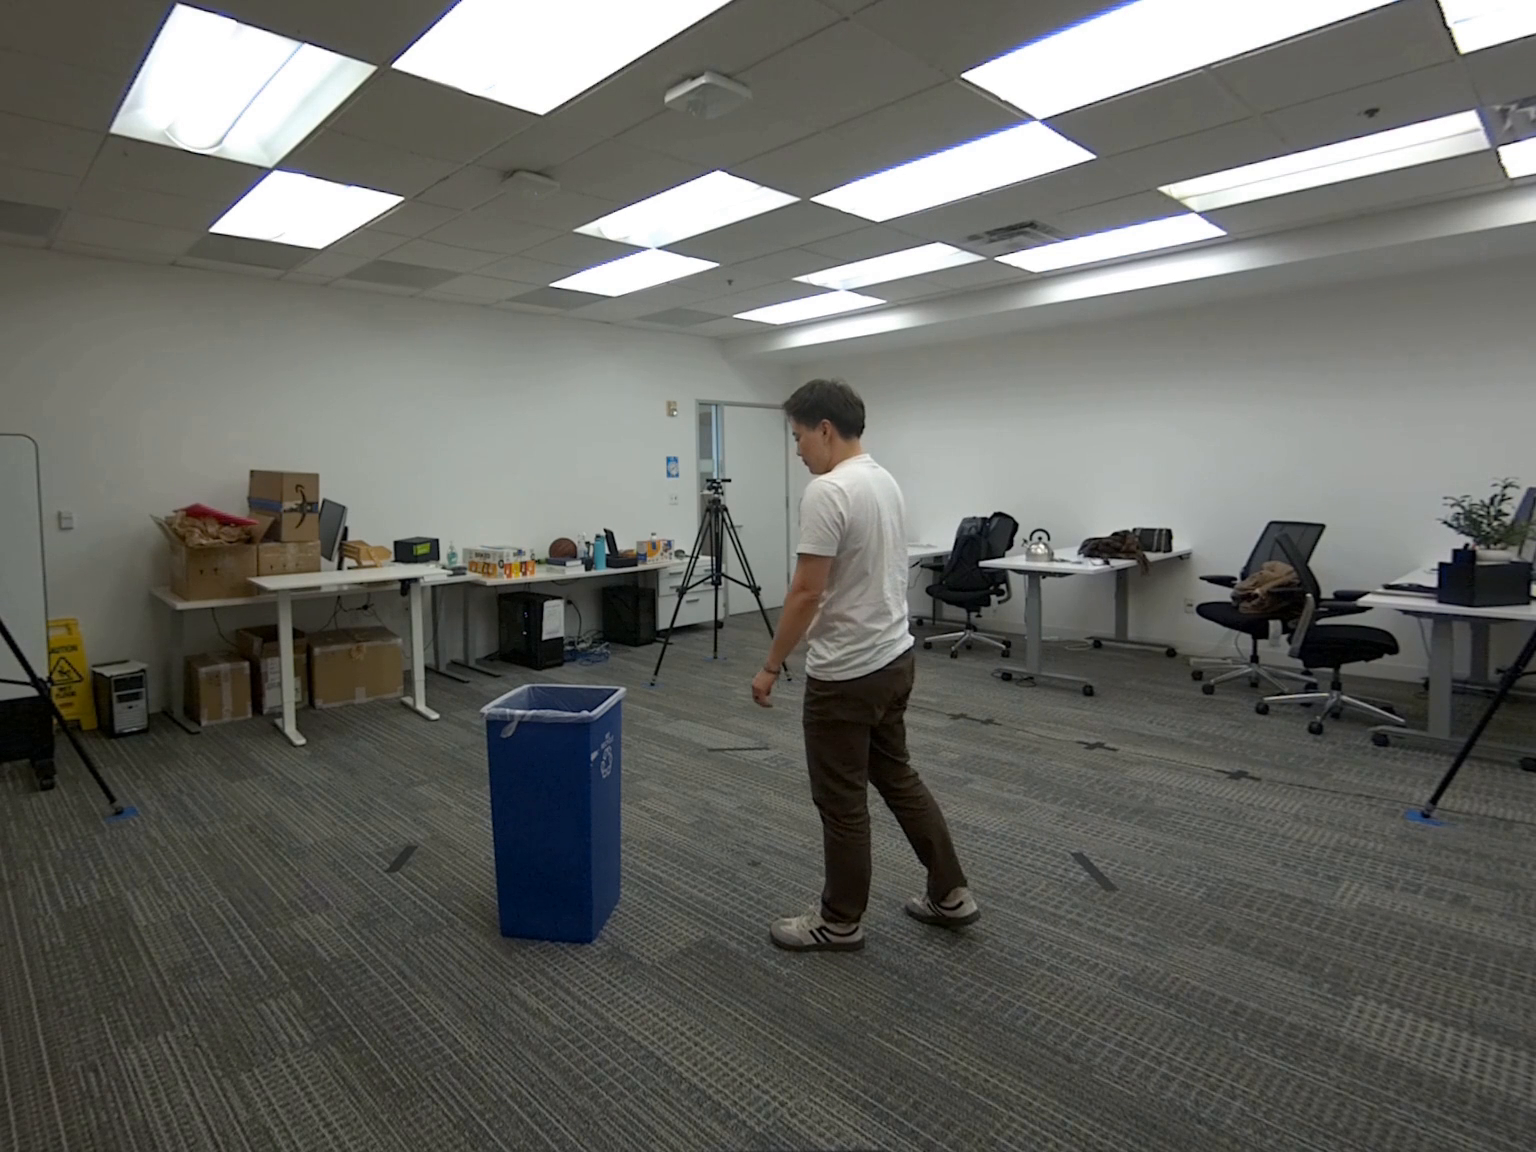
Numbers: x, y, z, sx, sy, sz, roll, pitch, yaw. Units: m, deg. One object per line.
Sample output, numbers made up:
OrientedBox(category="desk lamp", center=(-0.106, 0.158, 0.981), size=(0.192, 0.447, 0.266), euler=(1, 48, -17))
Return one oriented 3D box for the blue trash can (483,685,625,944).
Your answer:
OrientedBox(category="blue trash can", center=(-0.658, 0.744, 2.733), size=(0.377, 0.711, 0.376), euler=(-1, 4, 8))
